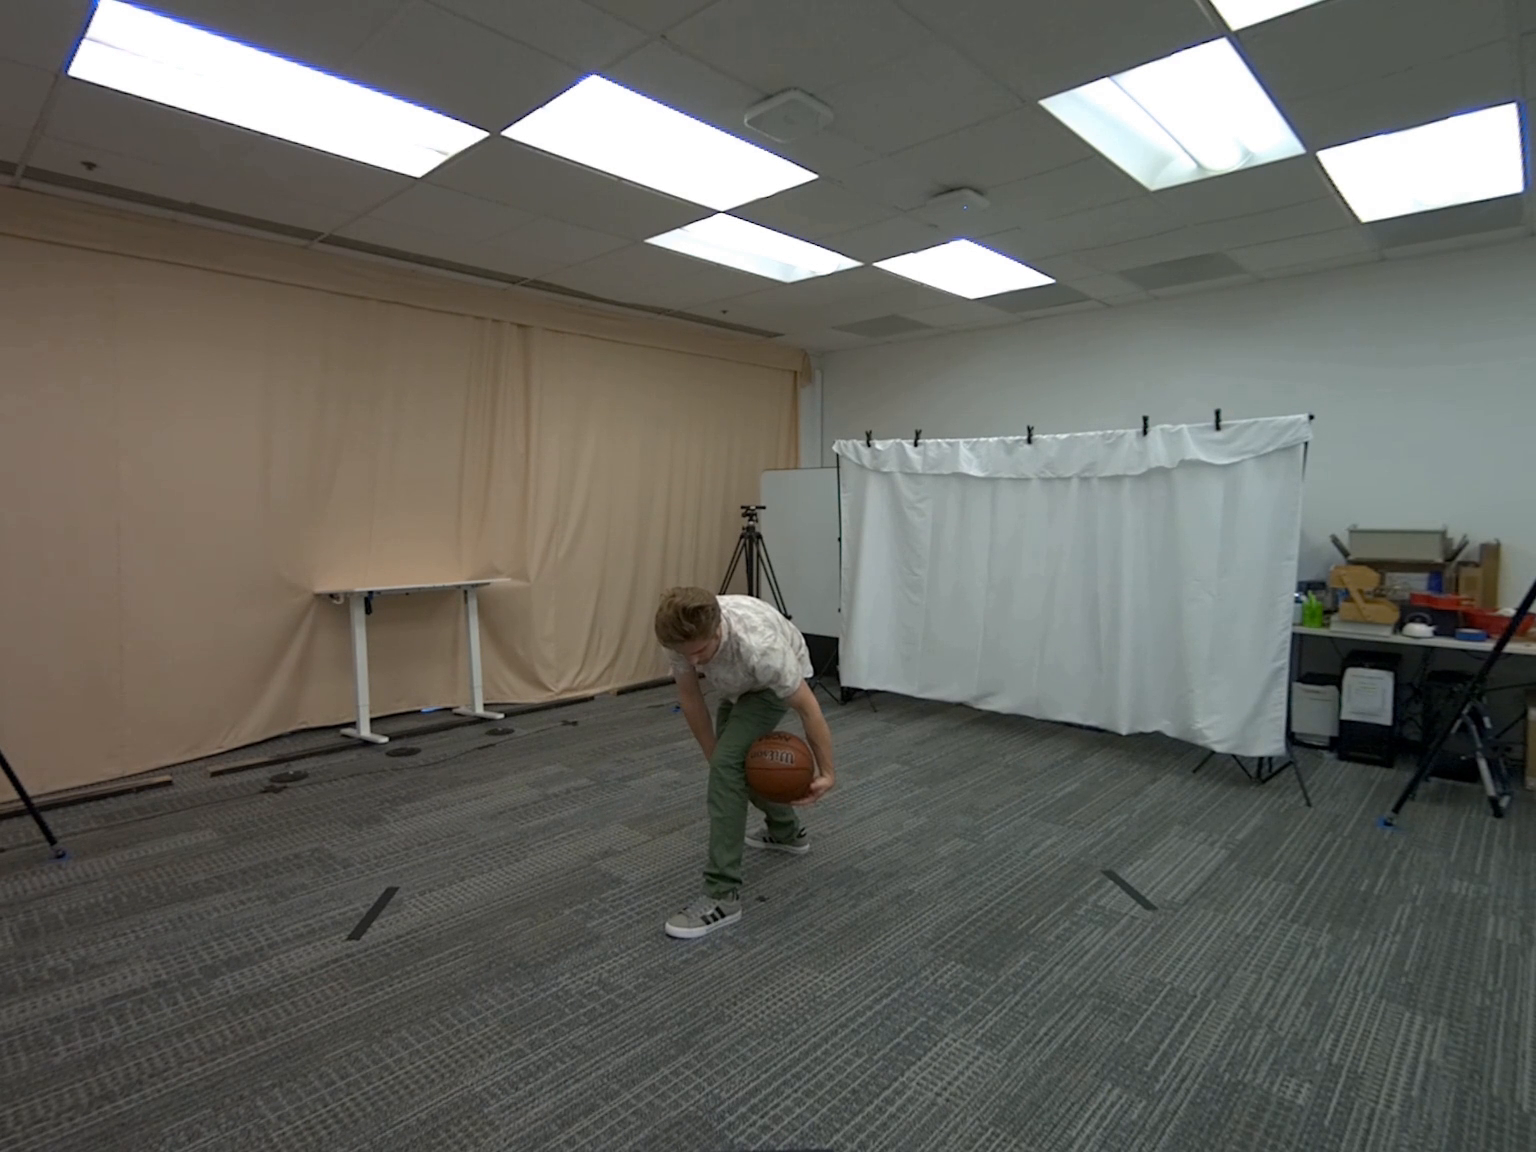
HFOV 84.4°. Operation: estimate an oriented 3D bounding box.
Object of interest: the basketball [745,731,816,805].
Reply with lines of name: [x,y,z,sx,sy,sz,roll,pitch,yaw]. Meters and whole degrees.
basketball: [0.048,0.659,2.880,0.236,0.235,0.237,0,4,-2]
